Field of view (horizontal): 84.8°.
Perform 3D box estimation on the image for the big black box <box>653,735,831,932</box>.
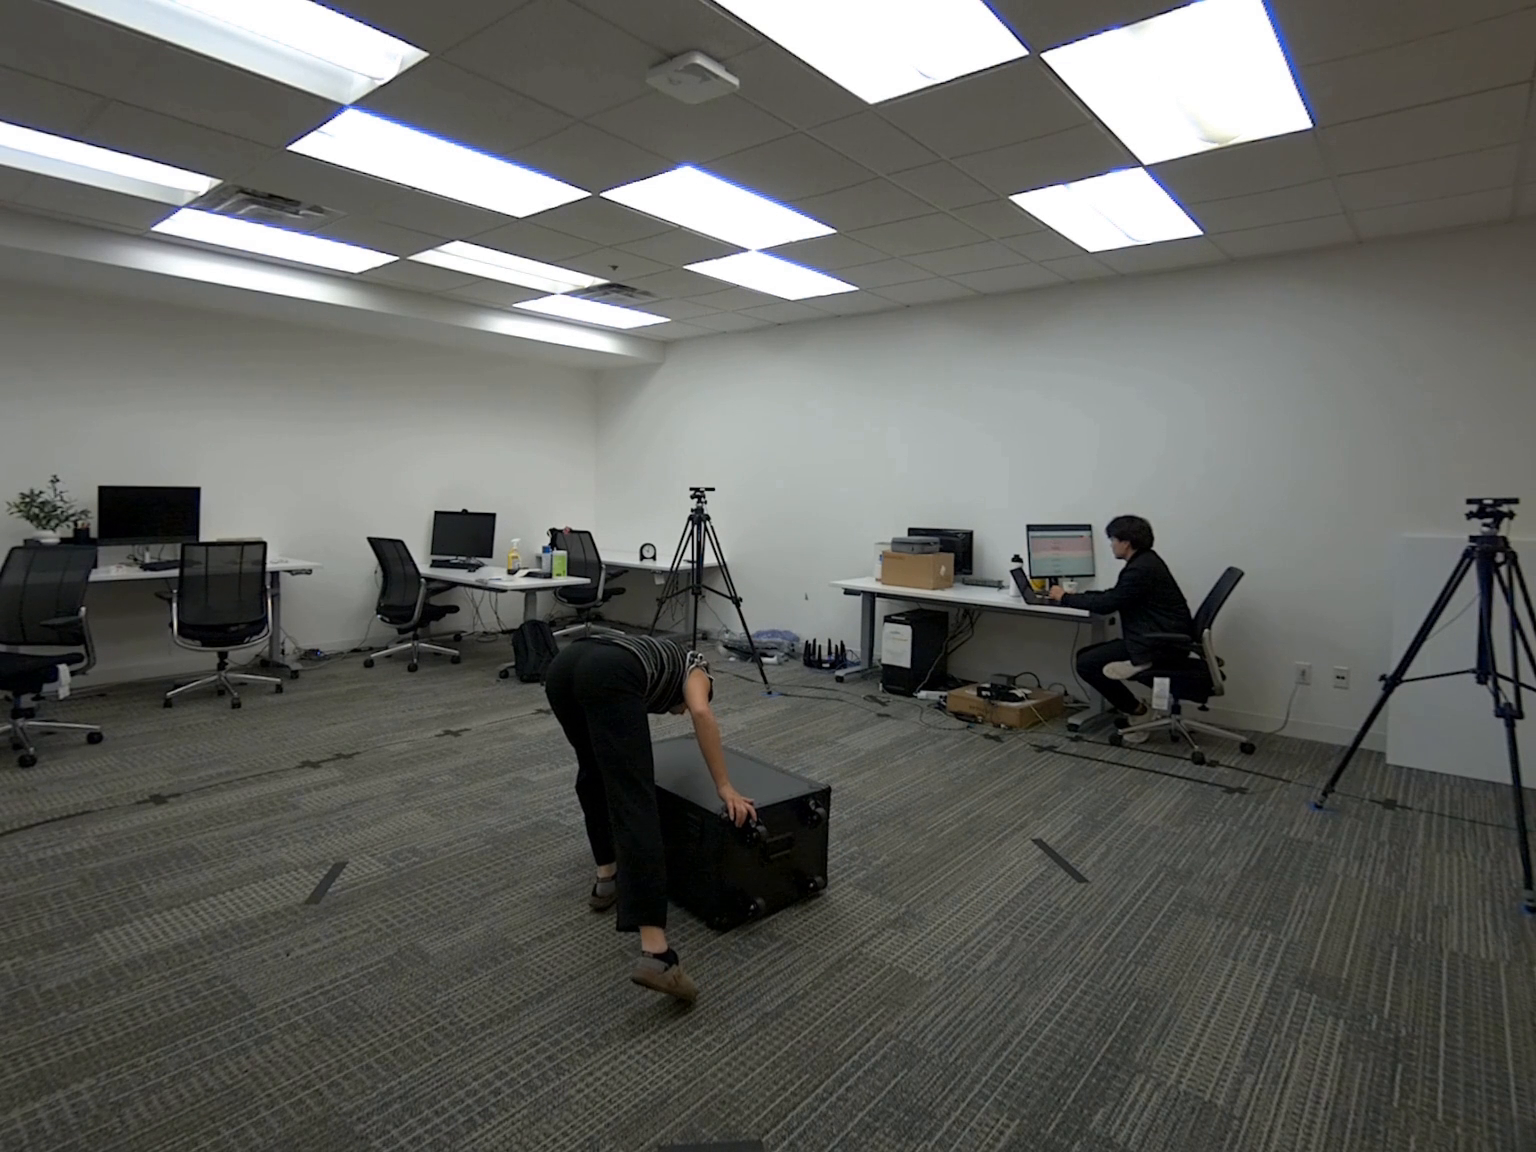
[{"bbox_3d":[-0.213,0.884,3.048,0.505,0.395,0.891,-2,6,-41],"label":"big black box"}]
